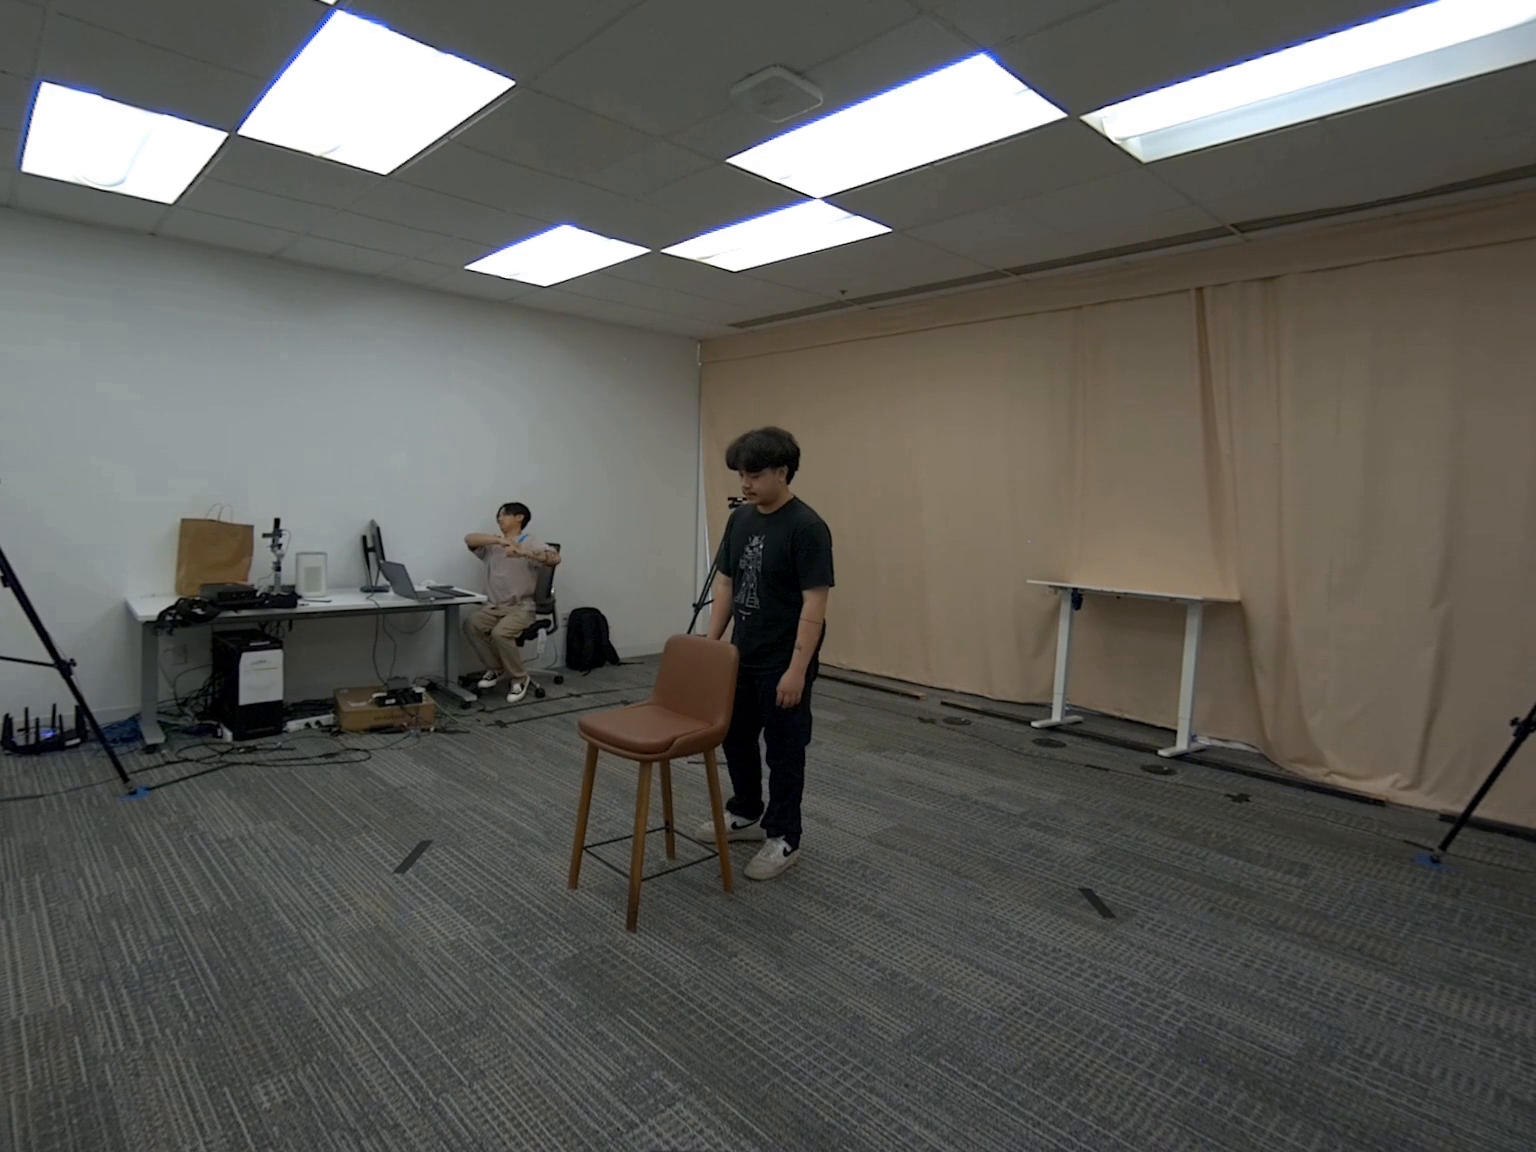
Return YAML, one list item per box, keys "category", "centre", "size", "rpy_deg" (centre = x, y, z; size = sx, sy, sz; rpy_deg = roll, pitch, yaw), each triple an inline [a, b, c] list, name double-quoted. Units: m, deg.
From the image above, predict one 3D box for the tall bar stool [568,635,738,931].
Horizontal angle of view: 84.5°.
- category: "tall bar stool"
  centre: [-0.396, 0.680, 2.957]
  size: [0.456, 0.888, 0.468]
  rpy_deg: [1, 3, -42]
